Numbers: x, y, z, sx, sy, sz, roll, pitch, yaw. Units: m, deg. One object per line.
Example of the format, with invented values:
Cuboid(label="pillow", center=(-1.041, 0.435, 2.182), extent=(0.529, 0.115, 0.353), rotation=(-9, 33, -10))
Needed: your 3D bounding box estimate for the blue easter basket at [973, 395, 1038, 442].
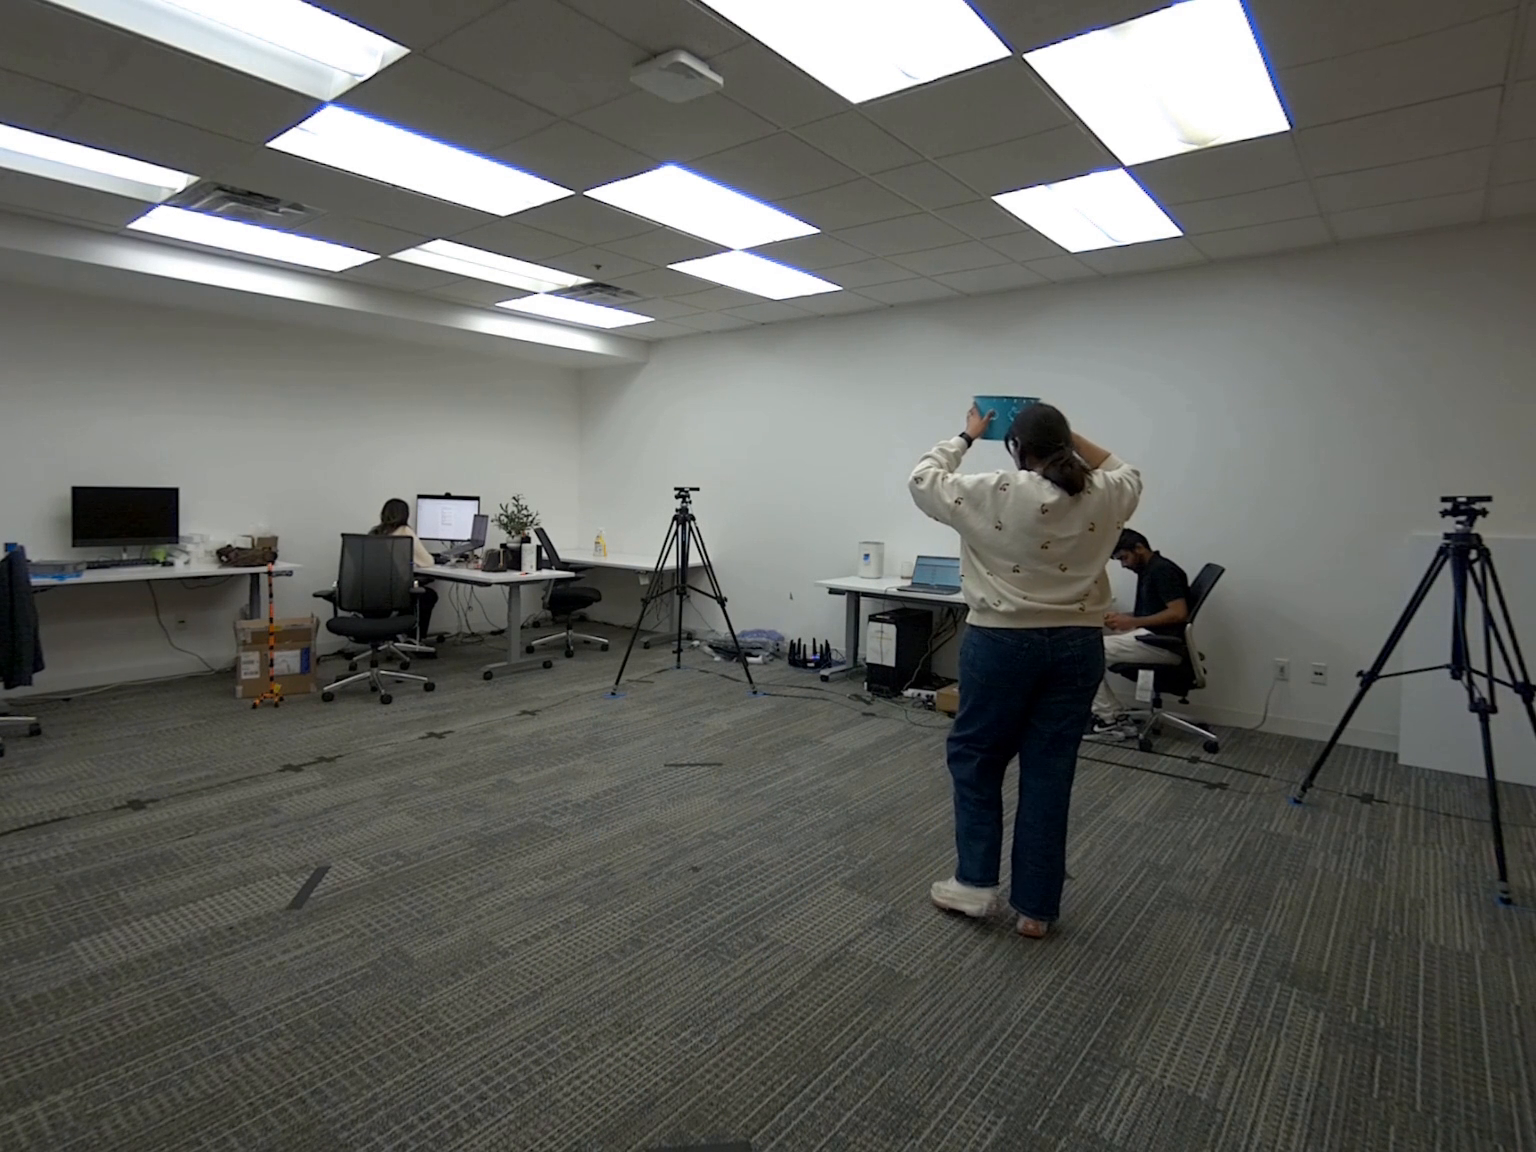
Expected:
Cuboid(label="blue easter basket", center=(0.836, -0.560, 2.992), extent=(0.243, 0.154, 0.246), rotation=(2, 11, -2))
